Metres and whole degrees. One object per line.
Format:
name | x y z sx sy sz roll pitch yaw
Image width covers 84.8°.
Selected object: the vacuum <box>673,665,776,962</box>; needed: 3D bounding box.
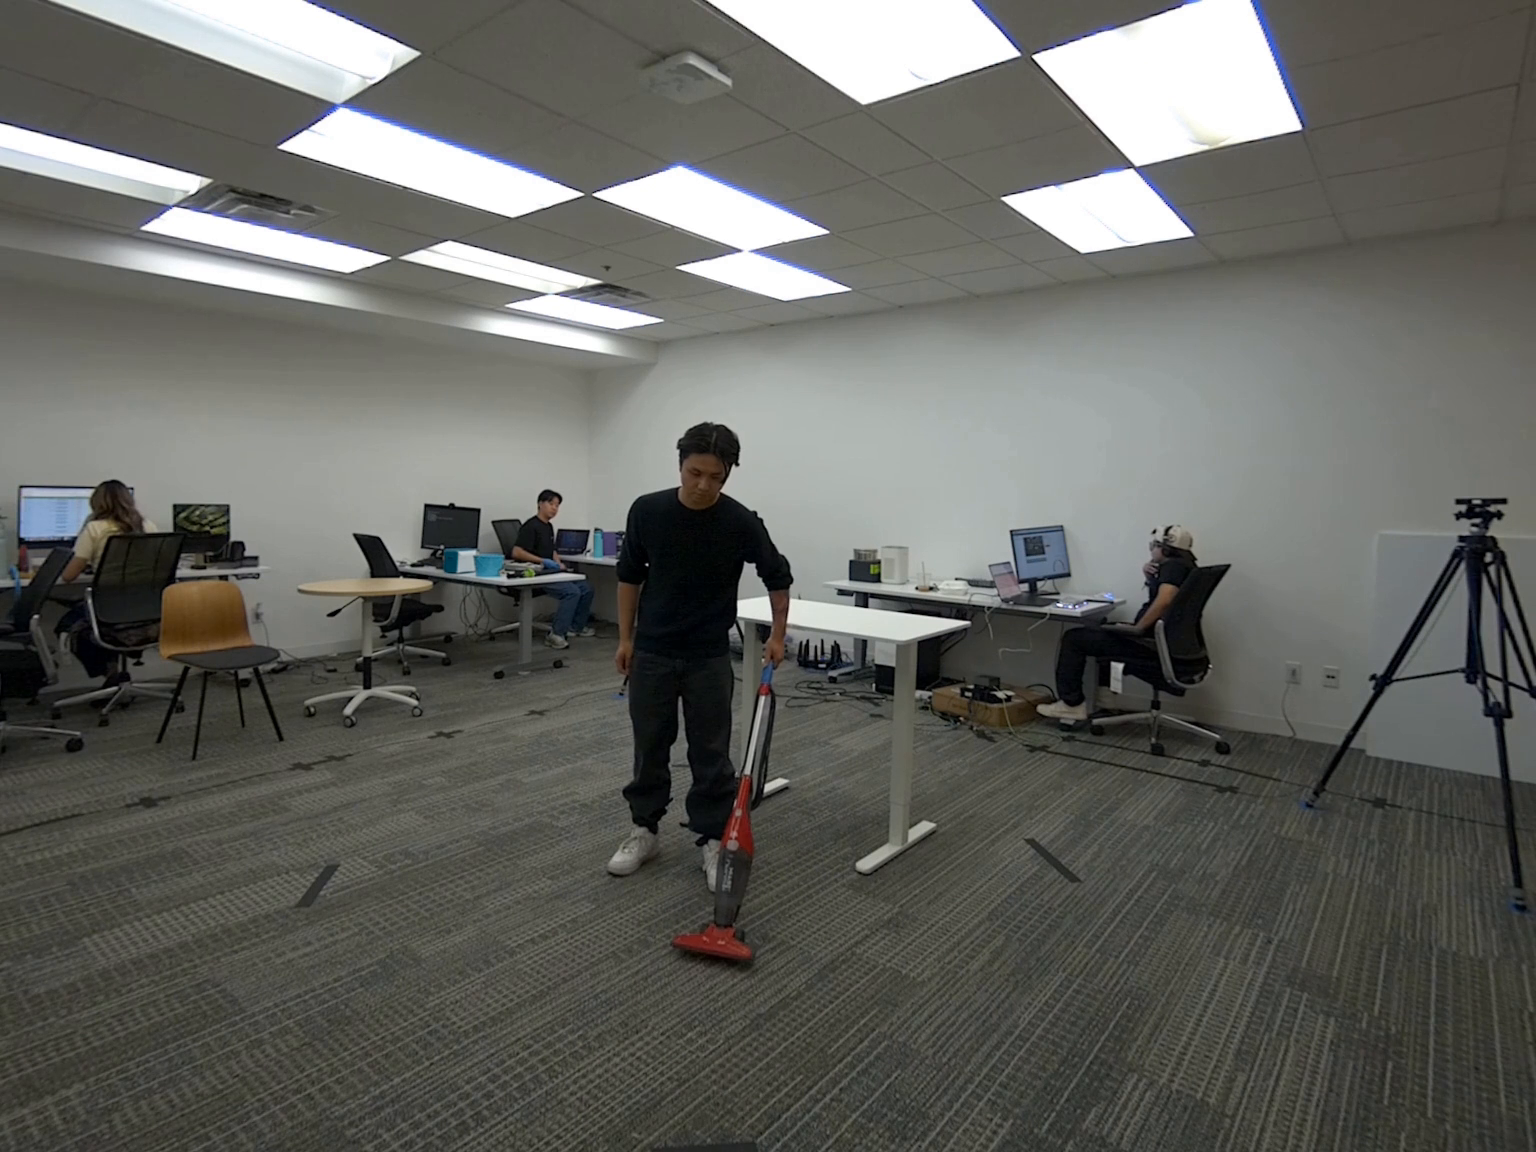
vacuum | -0.074 0.706 2.836 0.256 1.070 0.139 3 -39 12
